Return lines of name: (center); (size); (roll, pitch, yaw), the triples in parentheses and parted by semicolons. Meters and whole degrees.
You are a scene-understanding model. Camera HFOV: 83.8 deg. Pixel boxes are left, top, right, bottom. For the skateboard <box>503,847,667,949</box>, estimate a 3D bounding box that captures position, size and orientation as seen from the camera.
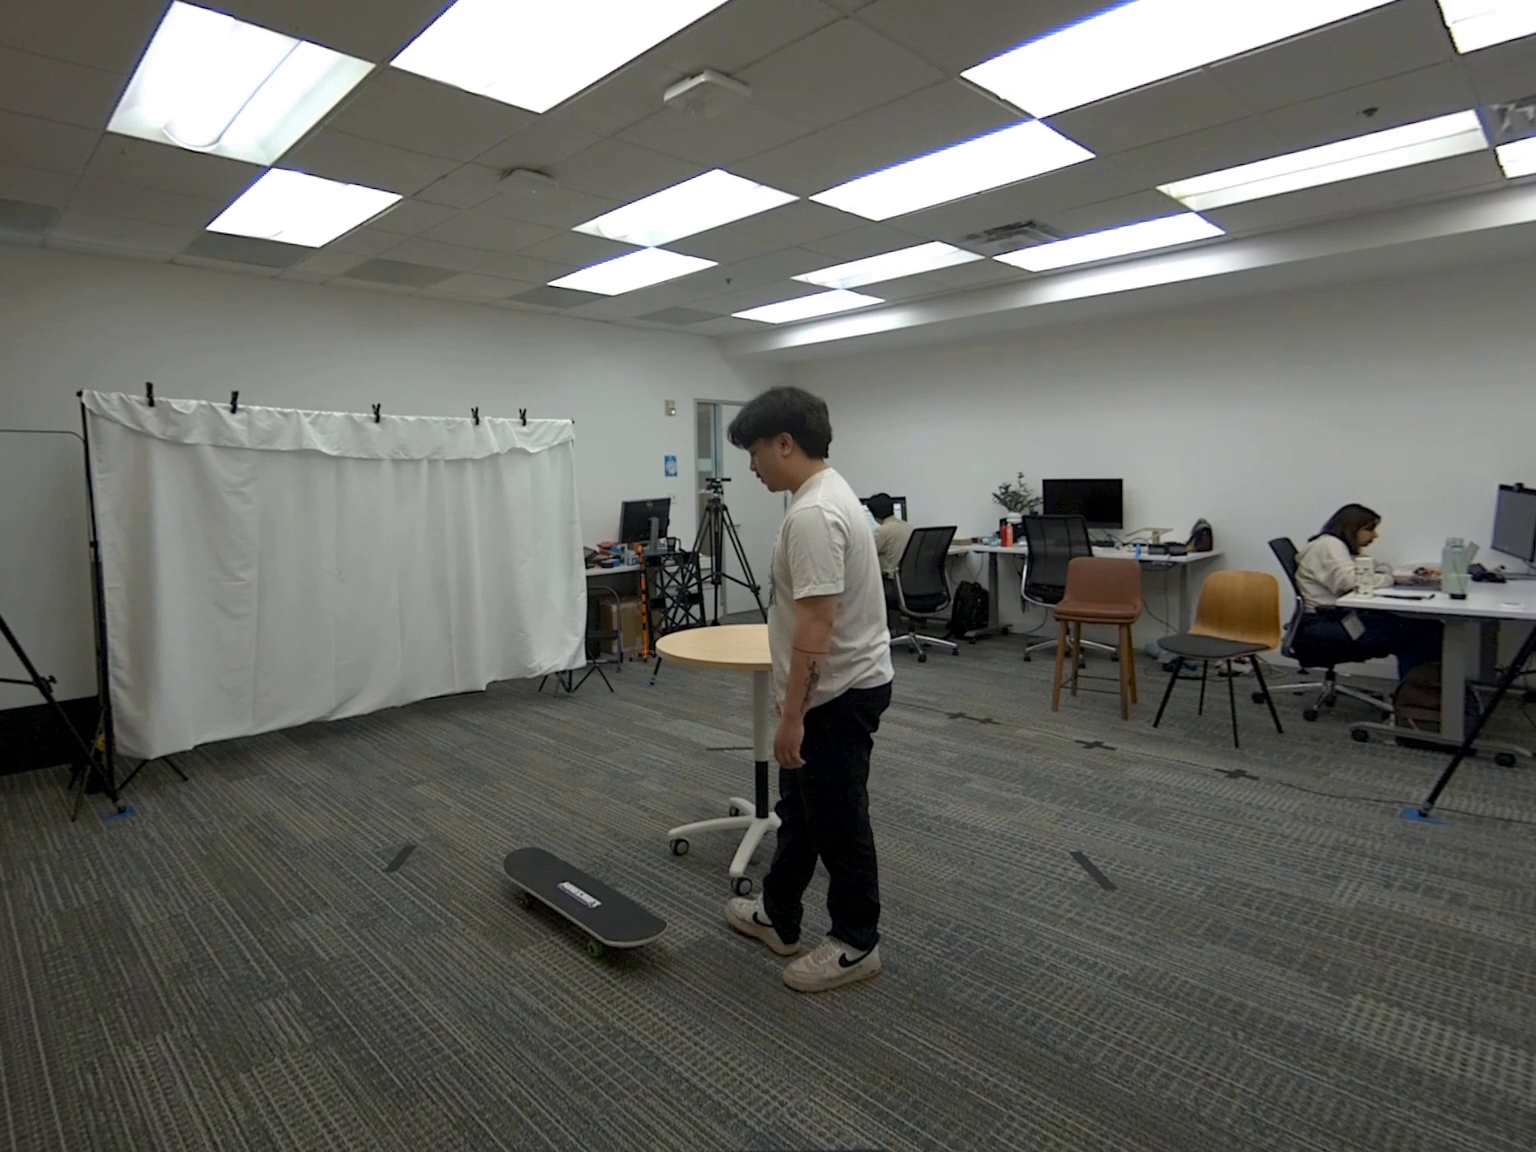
skateboard: (-0.598, 1.051, 2.703); (0.188, 0.110, 0.810); (-7, 9, -44)
